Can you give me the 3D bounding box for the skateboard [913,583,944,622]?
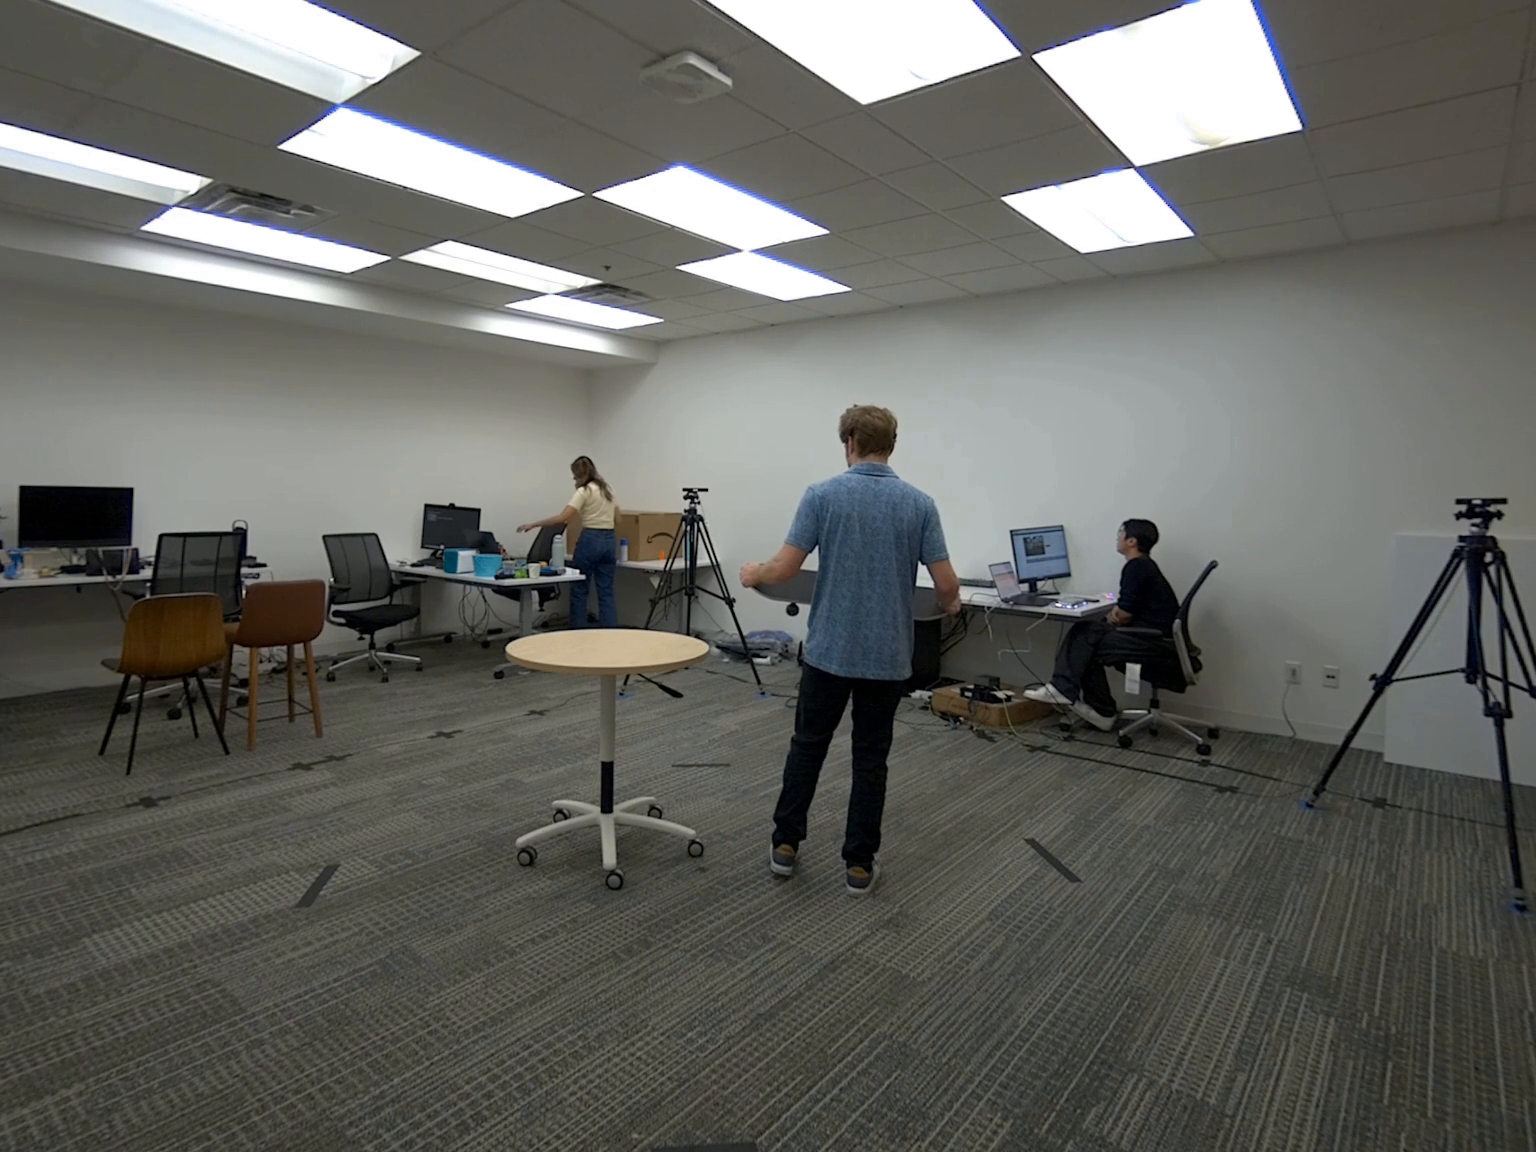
[{"bbox_3d":[0.260,0.084,3.264,0.787,0.108,0.197,7,35,2],"label":"skateboard"}]
